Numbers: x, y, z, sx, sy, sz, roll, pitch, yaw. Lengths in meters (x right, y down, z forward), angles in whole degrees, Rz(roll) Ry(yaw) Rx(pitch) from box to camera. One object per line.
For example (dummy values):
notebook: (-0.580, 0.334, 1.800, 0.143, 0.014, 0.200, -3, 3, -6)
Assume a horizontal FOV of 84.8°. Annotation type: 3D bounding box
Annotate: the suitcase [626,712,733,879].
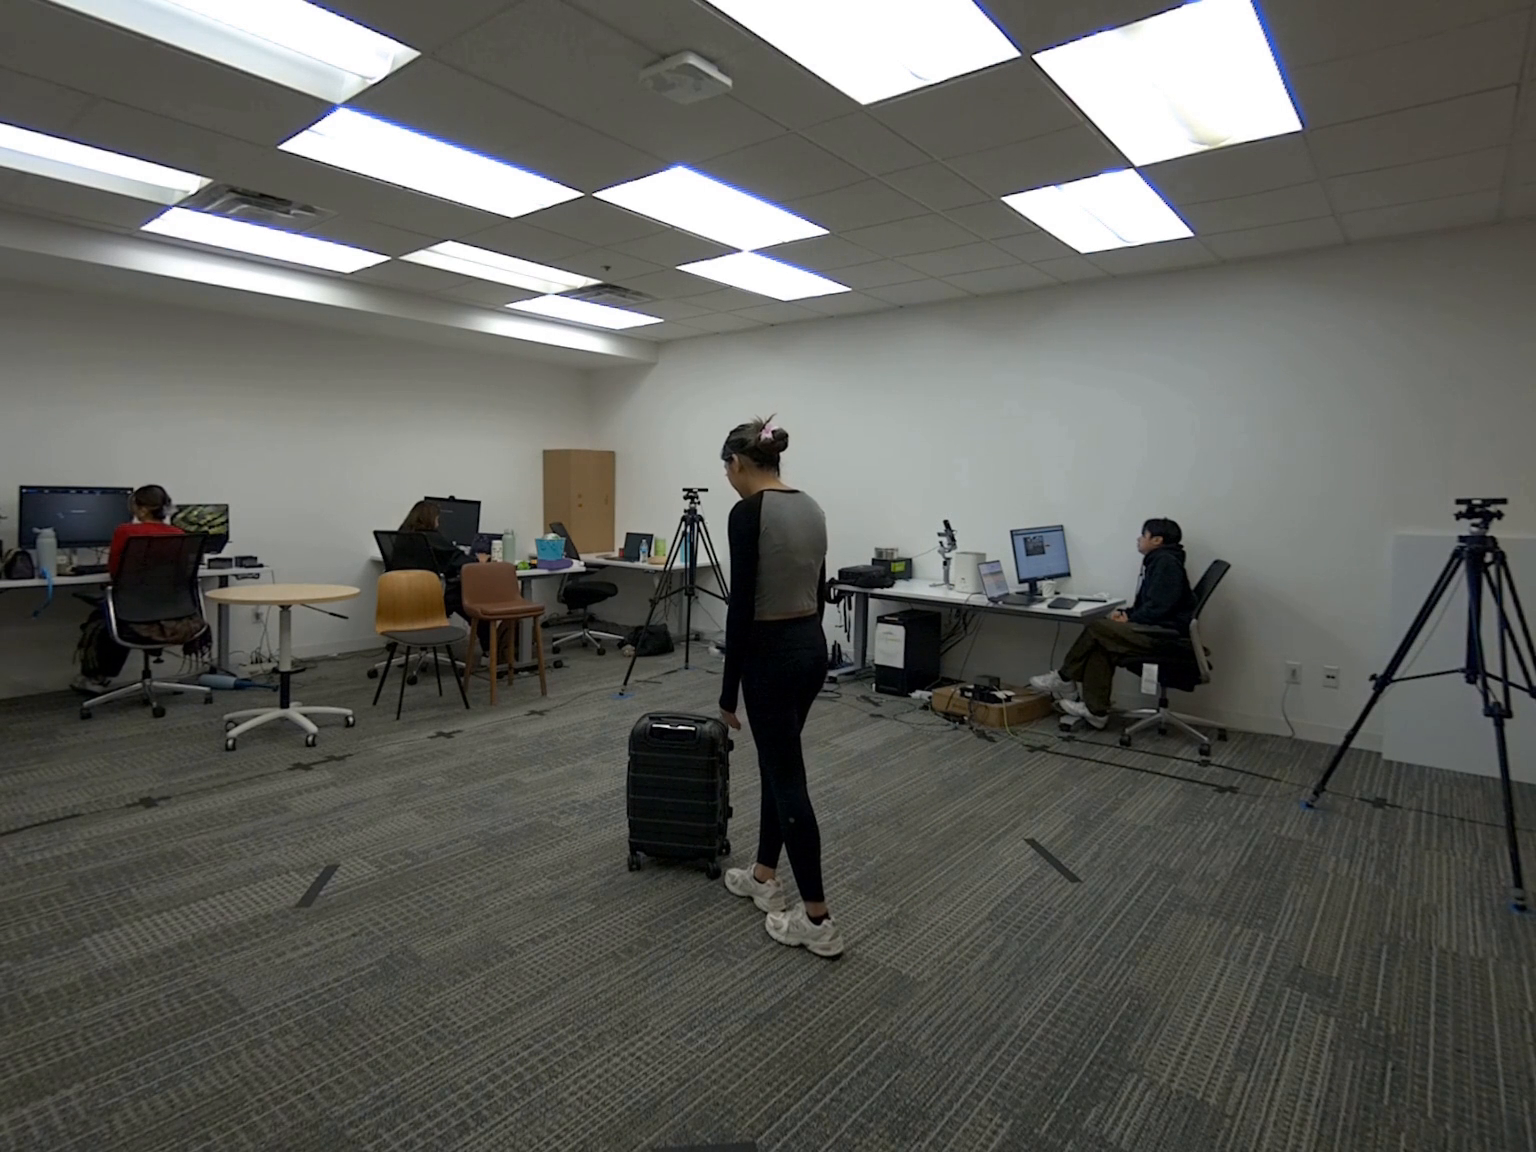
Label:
suitcase: (-0.344, 0.783, 3.188, 0.380, 0.549, 0.245, 1, 1, 12)
